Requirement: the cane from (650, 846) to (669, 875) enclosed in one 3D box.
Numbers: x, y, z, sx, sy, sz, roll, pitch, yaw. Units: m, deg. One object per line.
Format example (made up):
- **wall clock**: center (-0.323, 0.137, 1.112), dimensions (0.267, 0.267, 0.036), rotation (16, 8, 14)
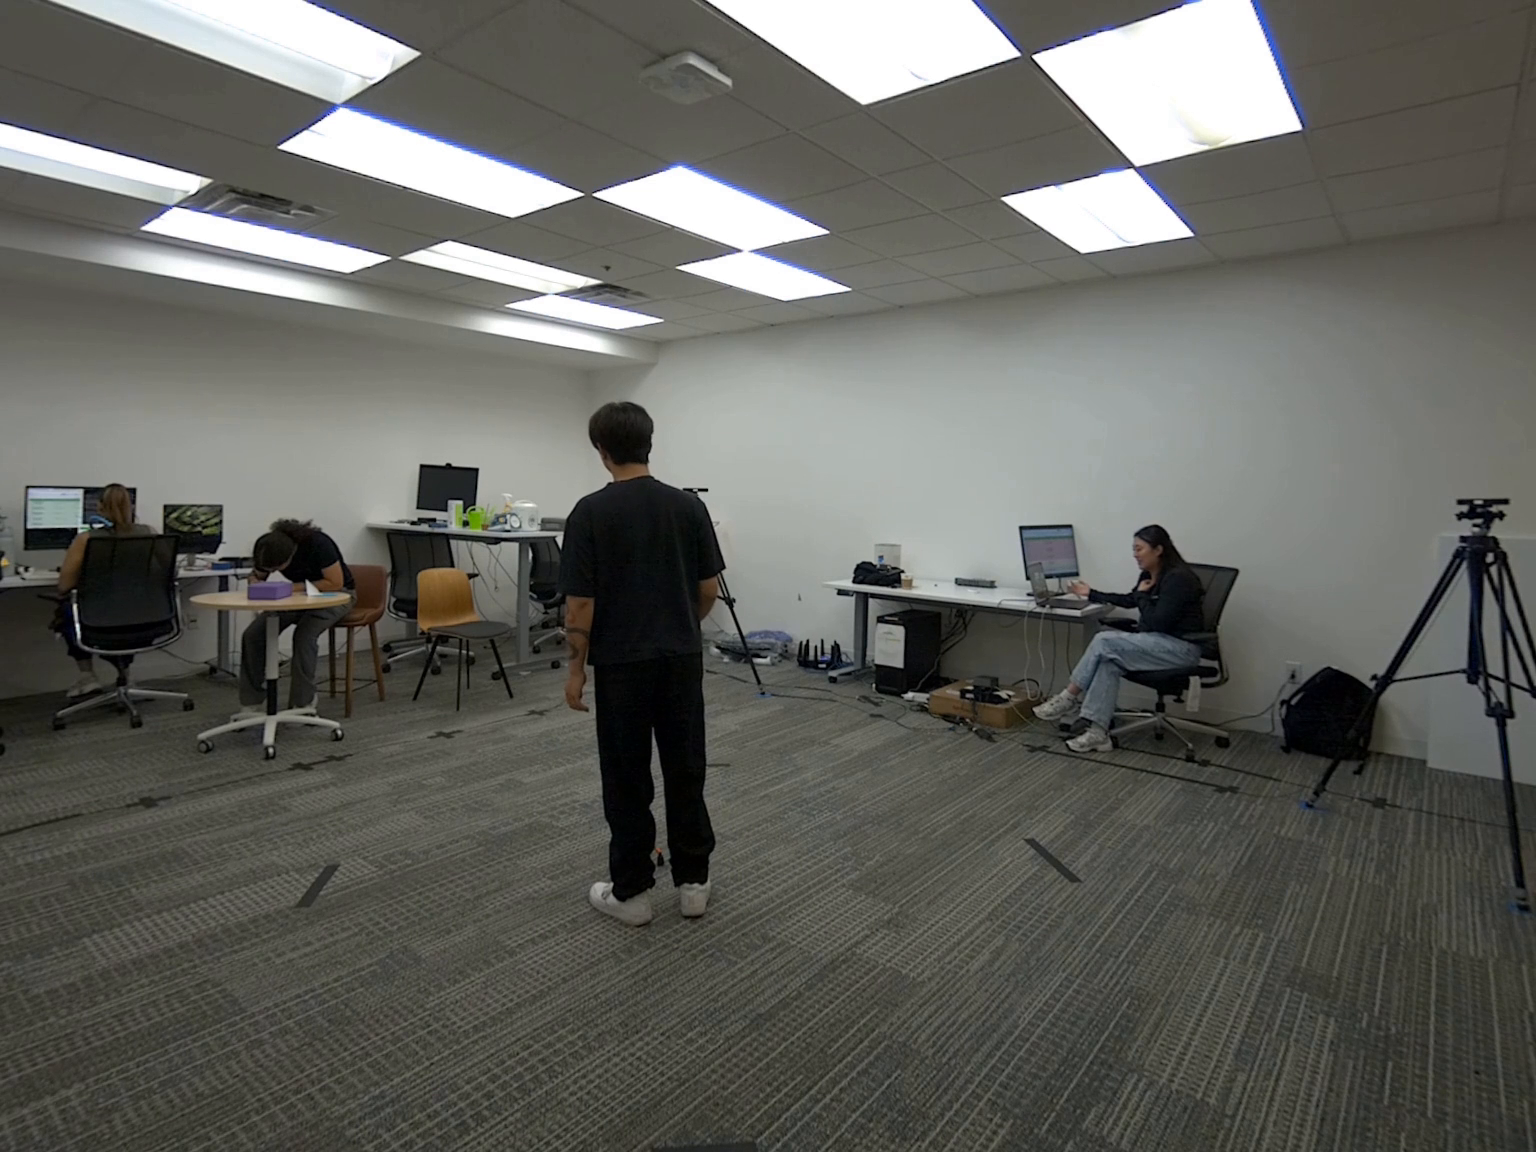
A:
- **cane**: center (-0.493, 0.599, 3.175), dimensions (0.148, 0.905, 0.211), rotation (-1, 3, -23)
